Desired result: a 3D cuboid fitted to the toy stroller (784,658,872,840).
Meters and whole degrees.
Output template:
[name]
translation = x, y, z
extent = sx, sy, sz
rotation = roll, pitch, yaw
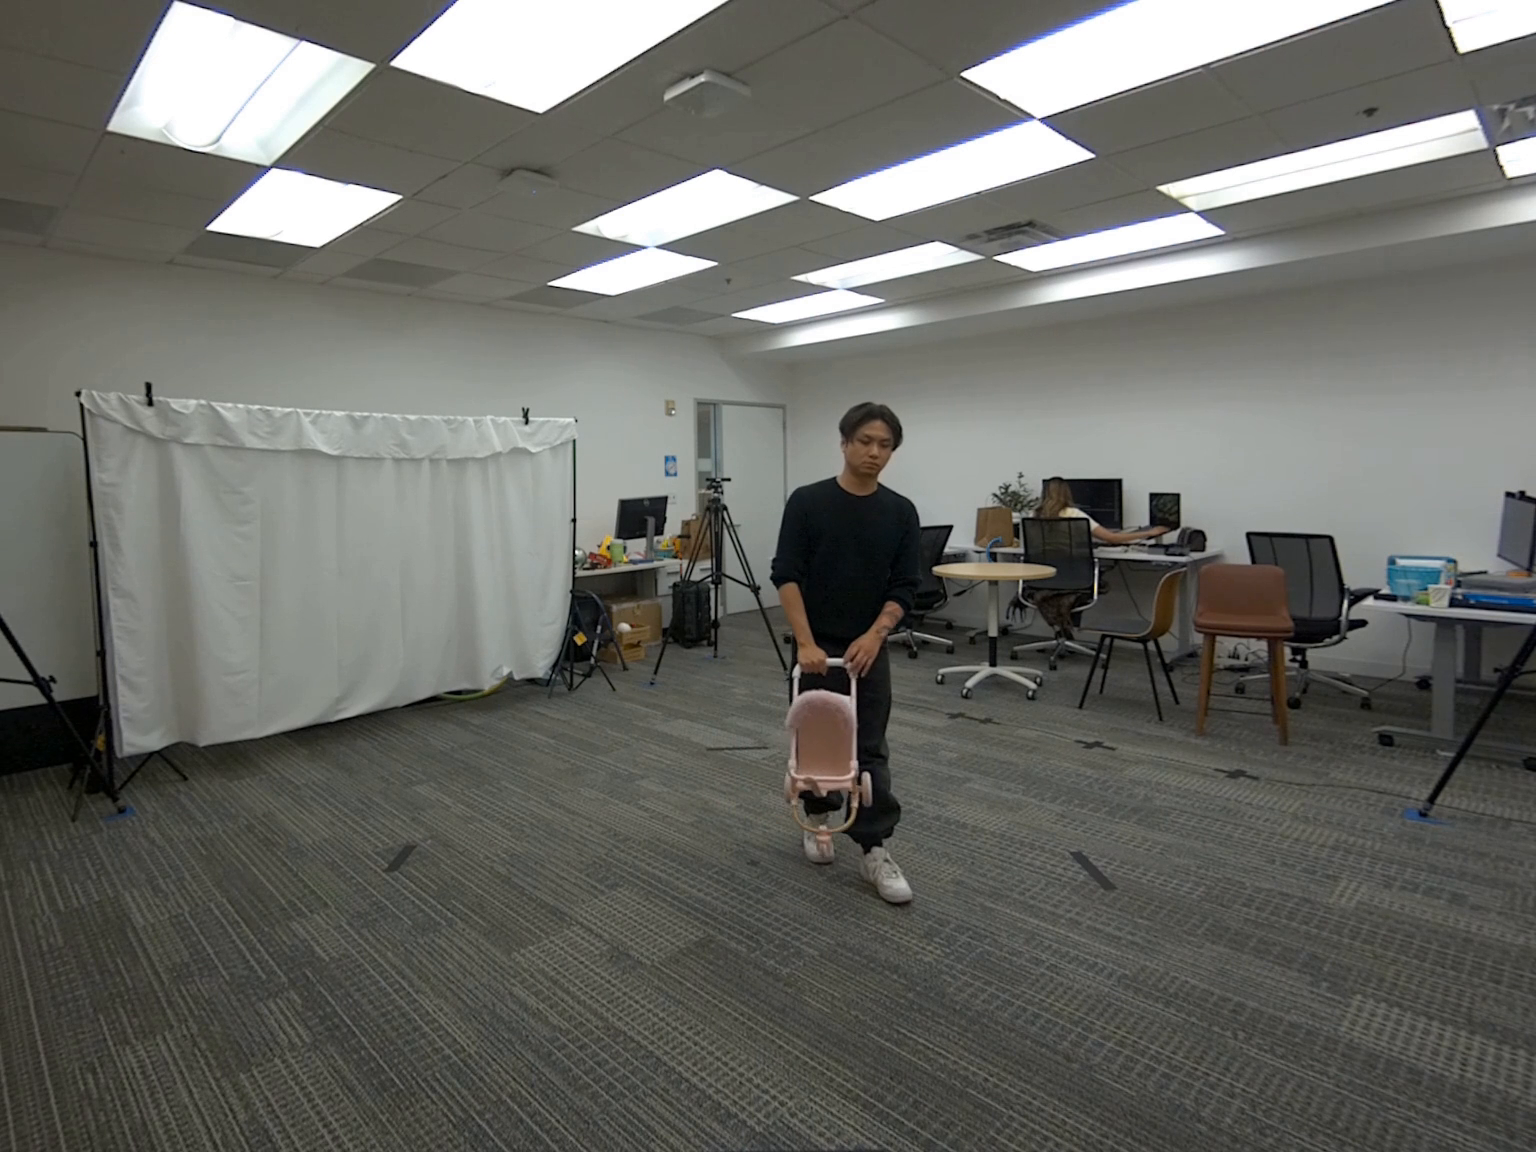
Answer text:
[toy stroller]
translation = 0.175, 0.574, 2.691
extent = 0.285, 0.530, 0.339
rotation = 0, 10, 14
